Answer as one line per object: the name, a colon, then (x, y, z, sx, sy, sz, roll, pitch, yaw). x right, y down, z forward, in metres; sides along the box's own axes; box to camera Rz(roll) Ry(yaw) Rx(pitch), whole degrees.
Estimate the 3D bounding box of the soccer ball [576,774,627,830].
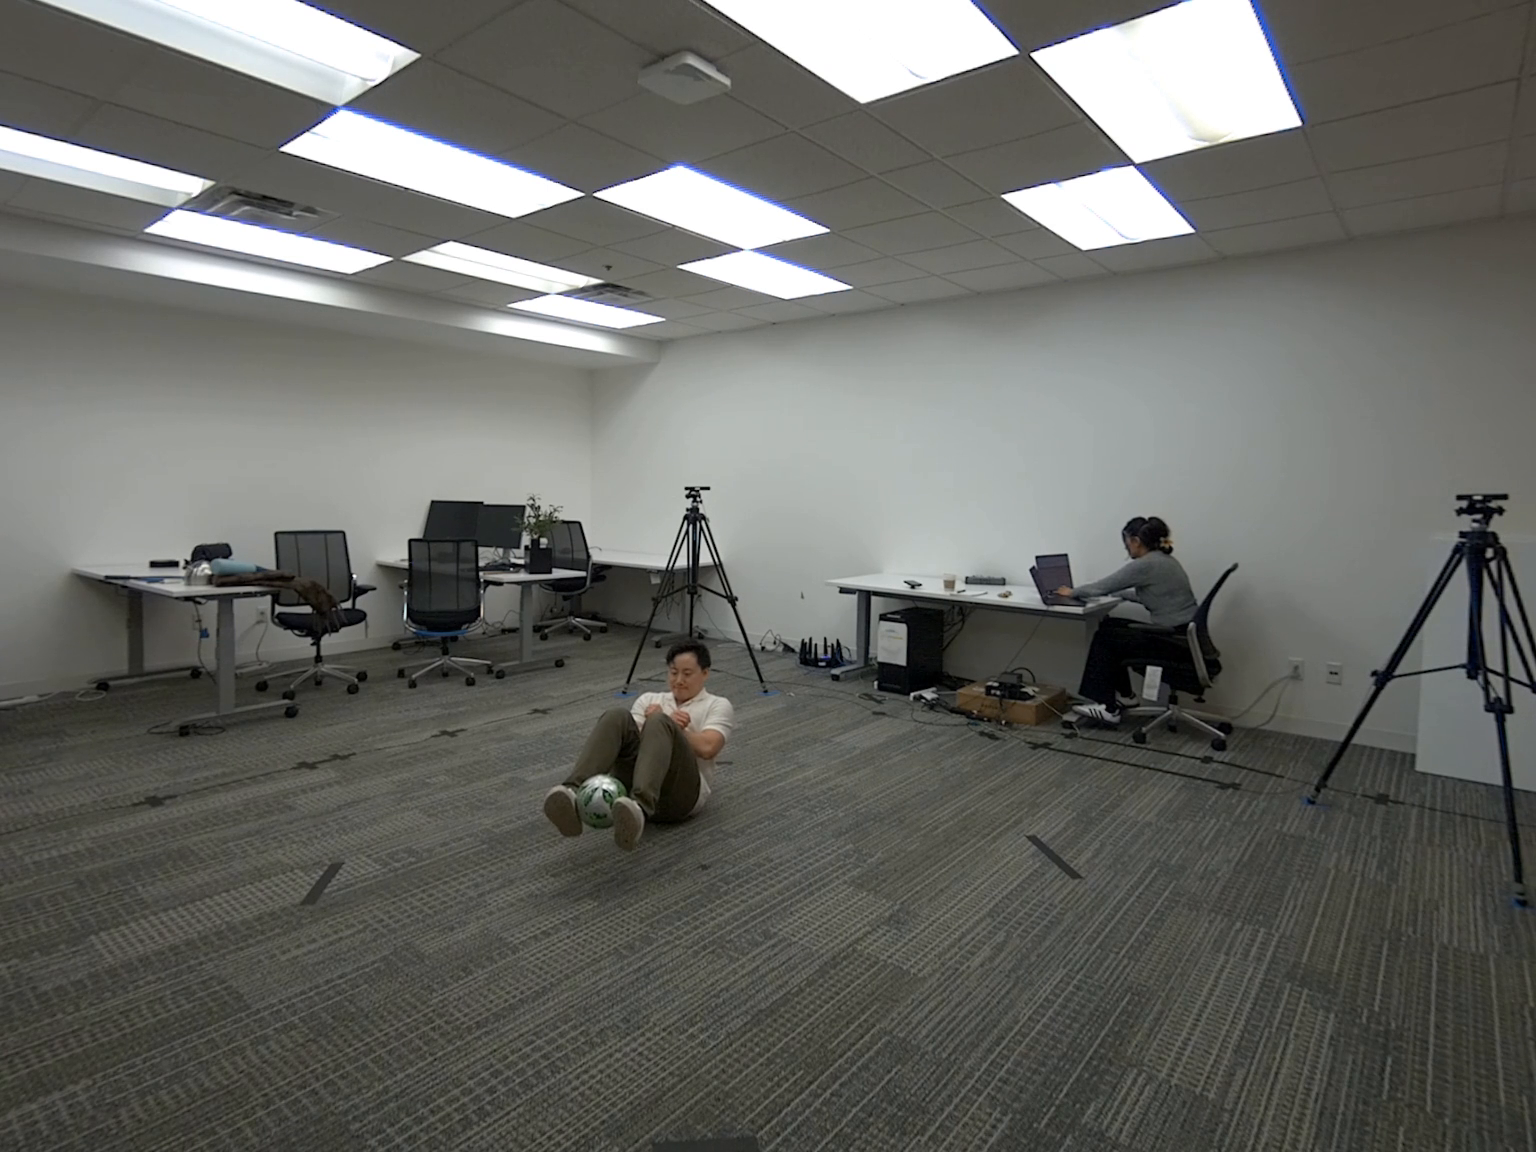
soccer ball: (-0.612, 0.806, 3.048, 0.187, 0.187, 0.188, 1, 4, -2)
